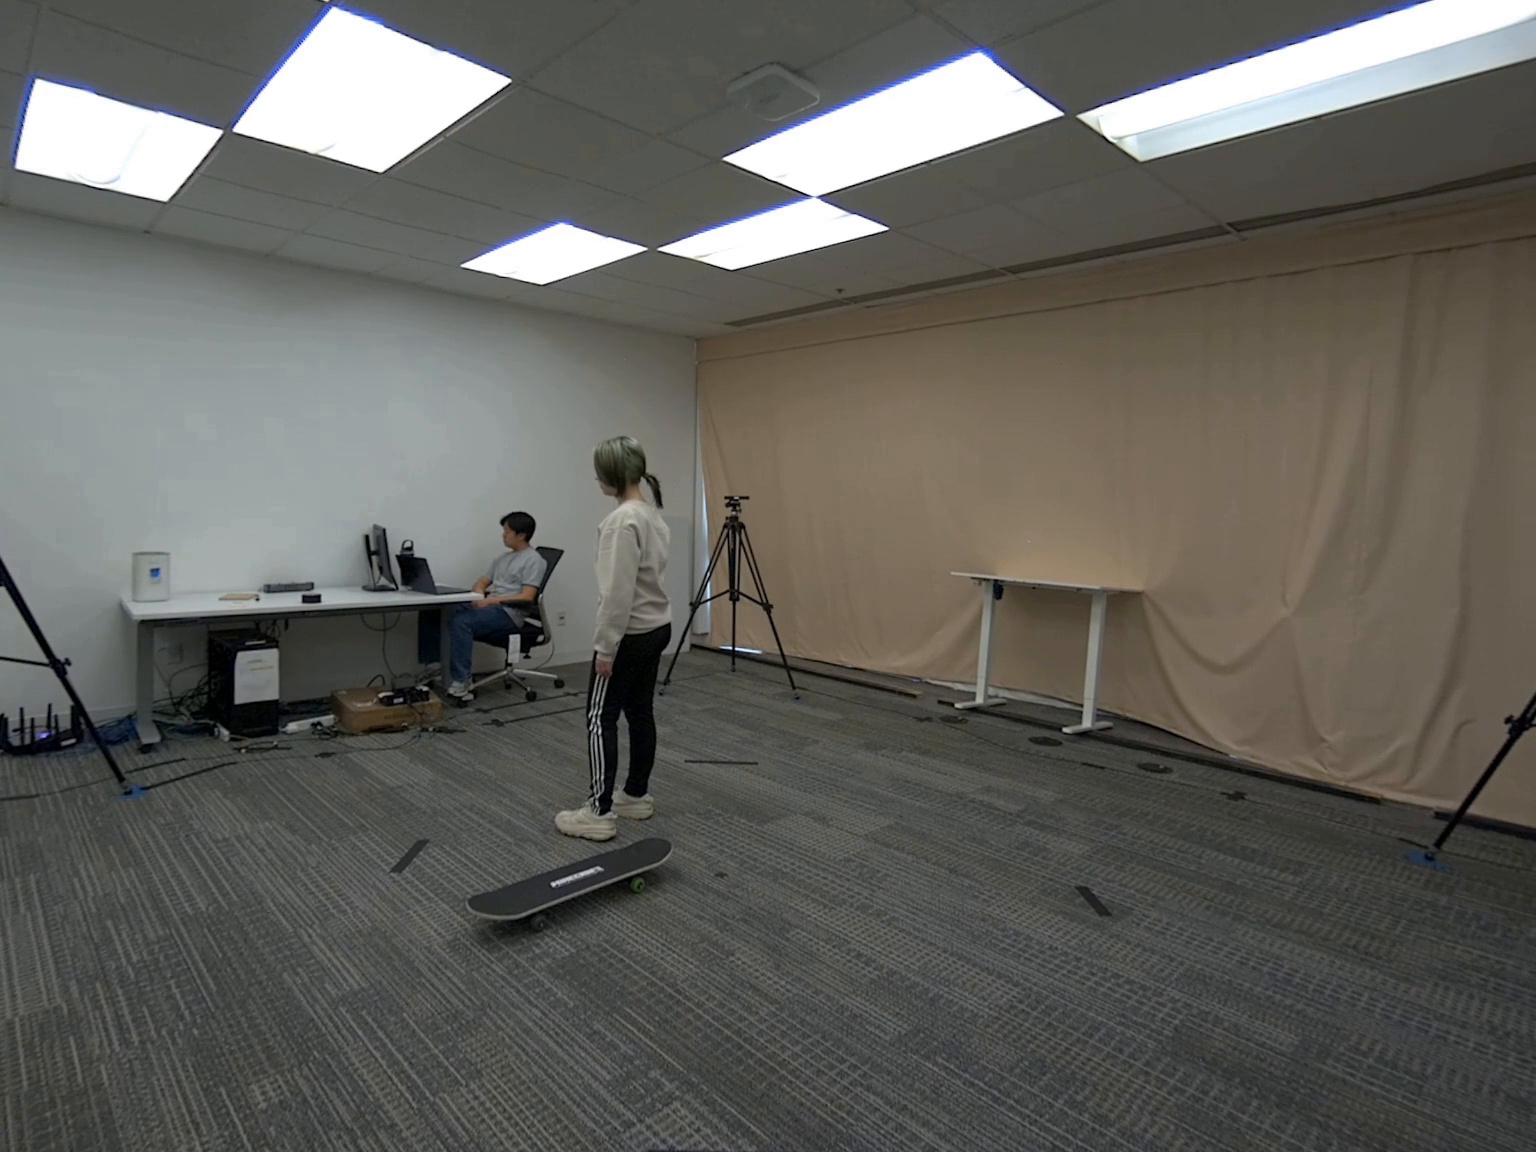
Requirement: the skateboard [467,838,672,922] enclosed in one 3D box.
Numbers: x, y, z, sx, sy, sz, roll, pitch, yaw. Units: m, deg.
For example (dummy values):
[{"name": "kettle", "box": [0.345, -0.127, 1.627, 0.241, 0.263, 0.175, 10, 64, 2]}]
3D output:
[{"name": "skateboard", "box": [-0.650, 1.054, 2.872, 0.198, 0.110, 0.768, 8, 8, 43]}]
